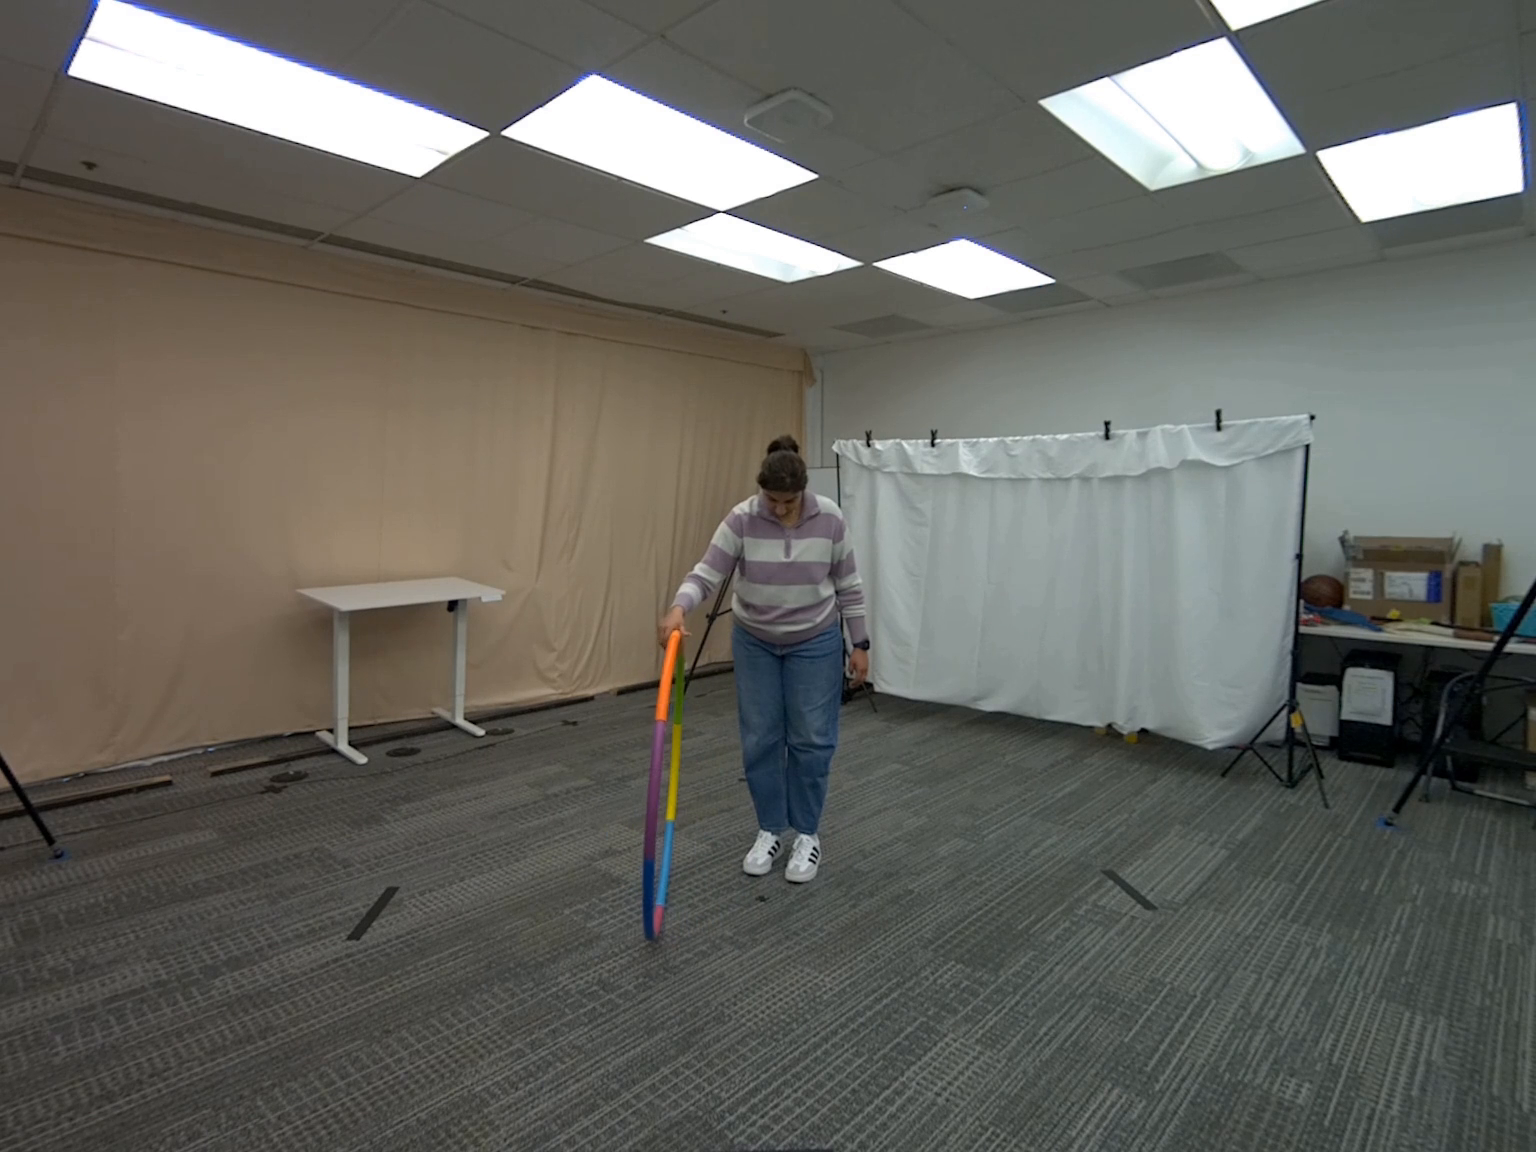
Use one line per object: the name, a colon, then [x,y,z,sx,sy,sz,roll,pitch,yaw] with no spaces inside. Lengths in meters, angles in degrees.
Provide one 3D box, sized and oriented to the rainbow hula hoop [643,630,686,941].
rainbow hula hoop: [-0.338,0.667,2.789,0.035,0.977,0.980,4,4,-2]
